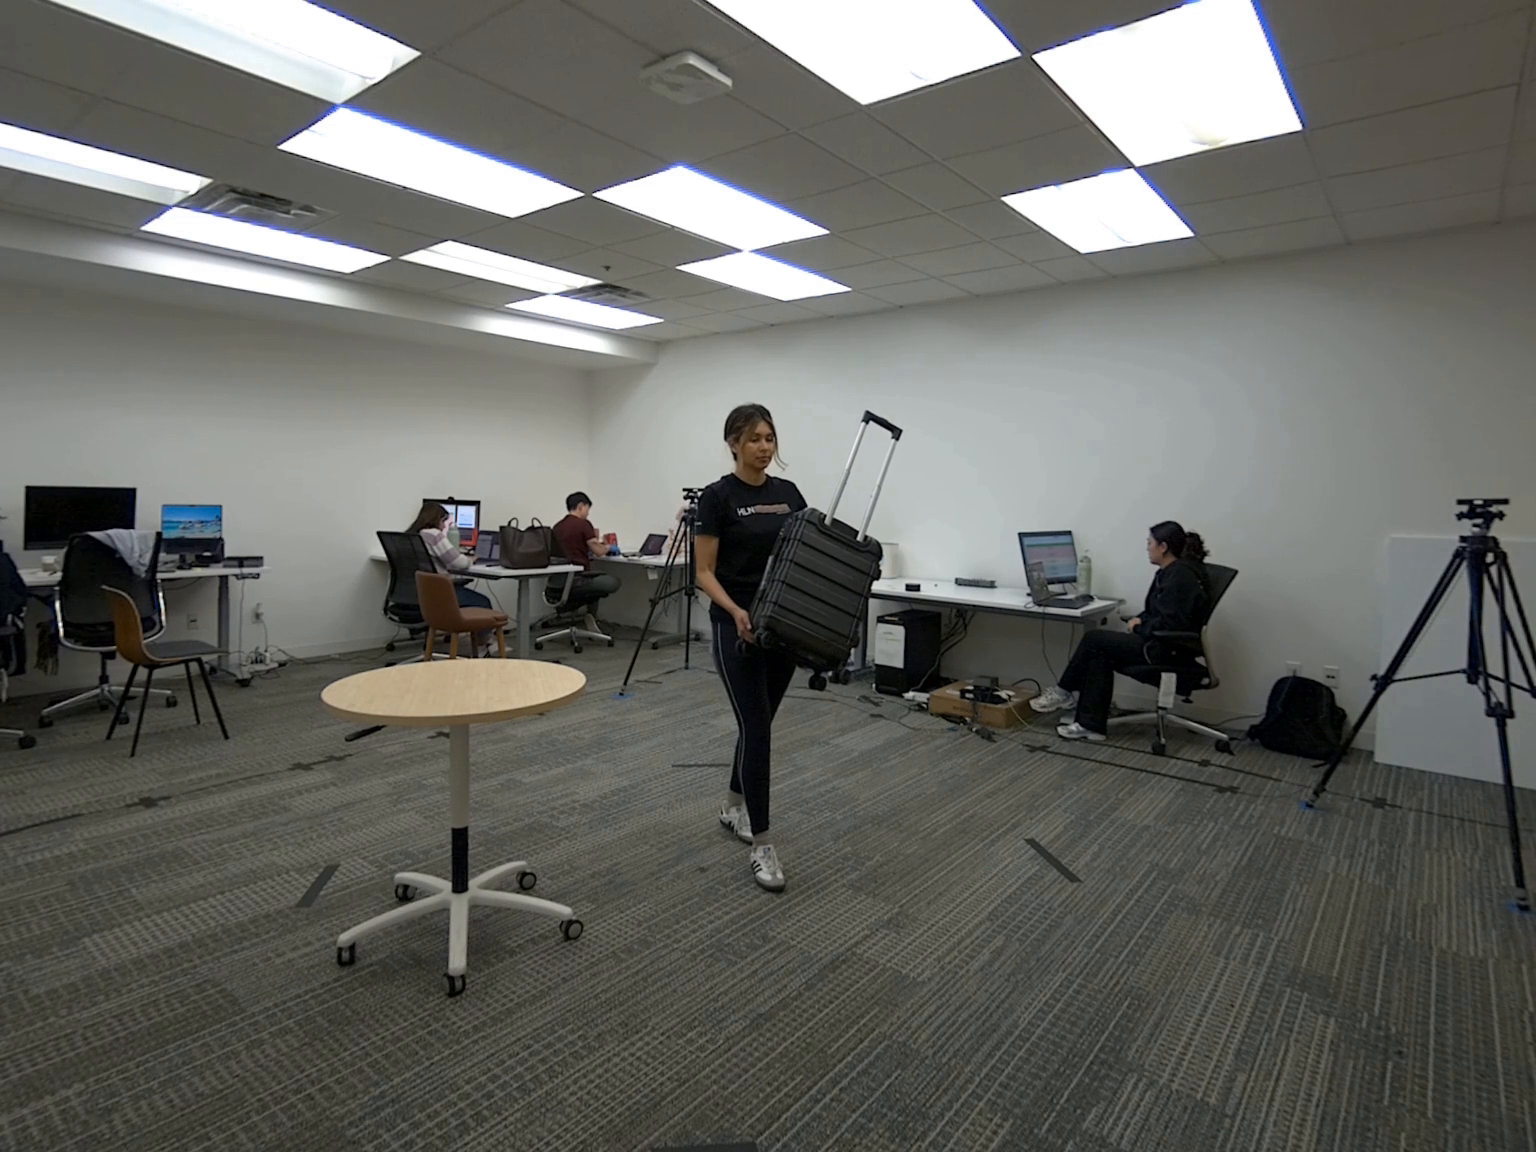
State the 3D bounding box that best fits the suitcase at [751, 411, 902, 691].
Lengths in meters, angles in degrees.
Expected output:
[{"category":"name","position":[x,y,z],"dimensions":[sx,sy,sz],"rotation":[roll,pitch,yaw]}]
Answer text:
[{"category":"suitcase","position":[0.220,-0.127,3.044],"dimensions":[0.380,0.988,0.257],"rotation":[25,-22,-7]}]
